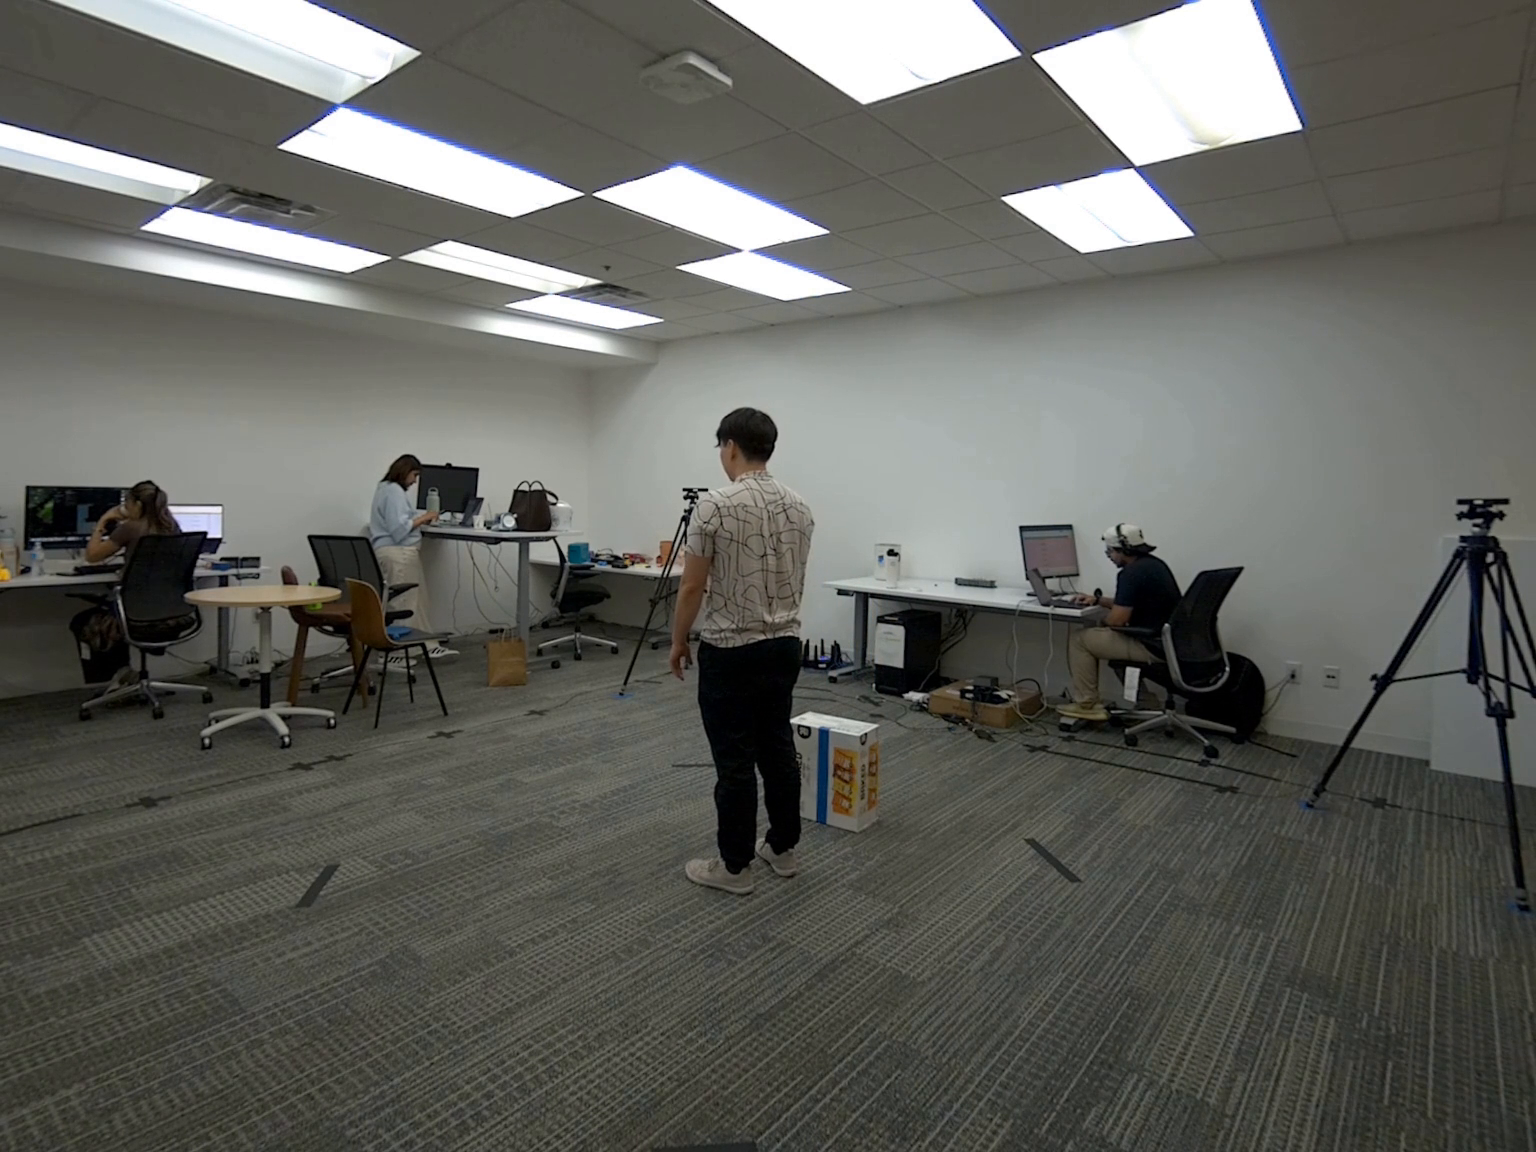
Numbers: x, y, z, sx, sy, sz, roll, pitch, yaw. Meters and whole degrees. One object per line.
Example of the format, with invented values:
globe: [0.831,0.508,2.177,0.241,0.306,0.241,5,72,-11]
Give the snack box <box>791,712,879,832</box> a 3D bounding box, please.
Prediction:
snack box: [0.270,0.828,3.638,0.351,0.404,0.200,4,5,34]
